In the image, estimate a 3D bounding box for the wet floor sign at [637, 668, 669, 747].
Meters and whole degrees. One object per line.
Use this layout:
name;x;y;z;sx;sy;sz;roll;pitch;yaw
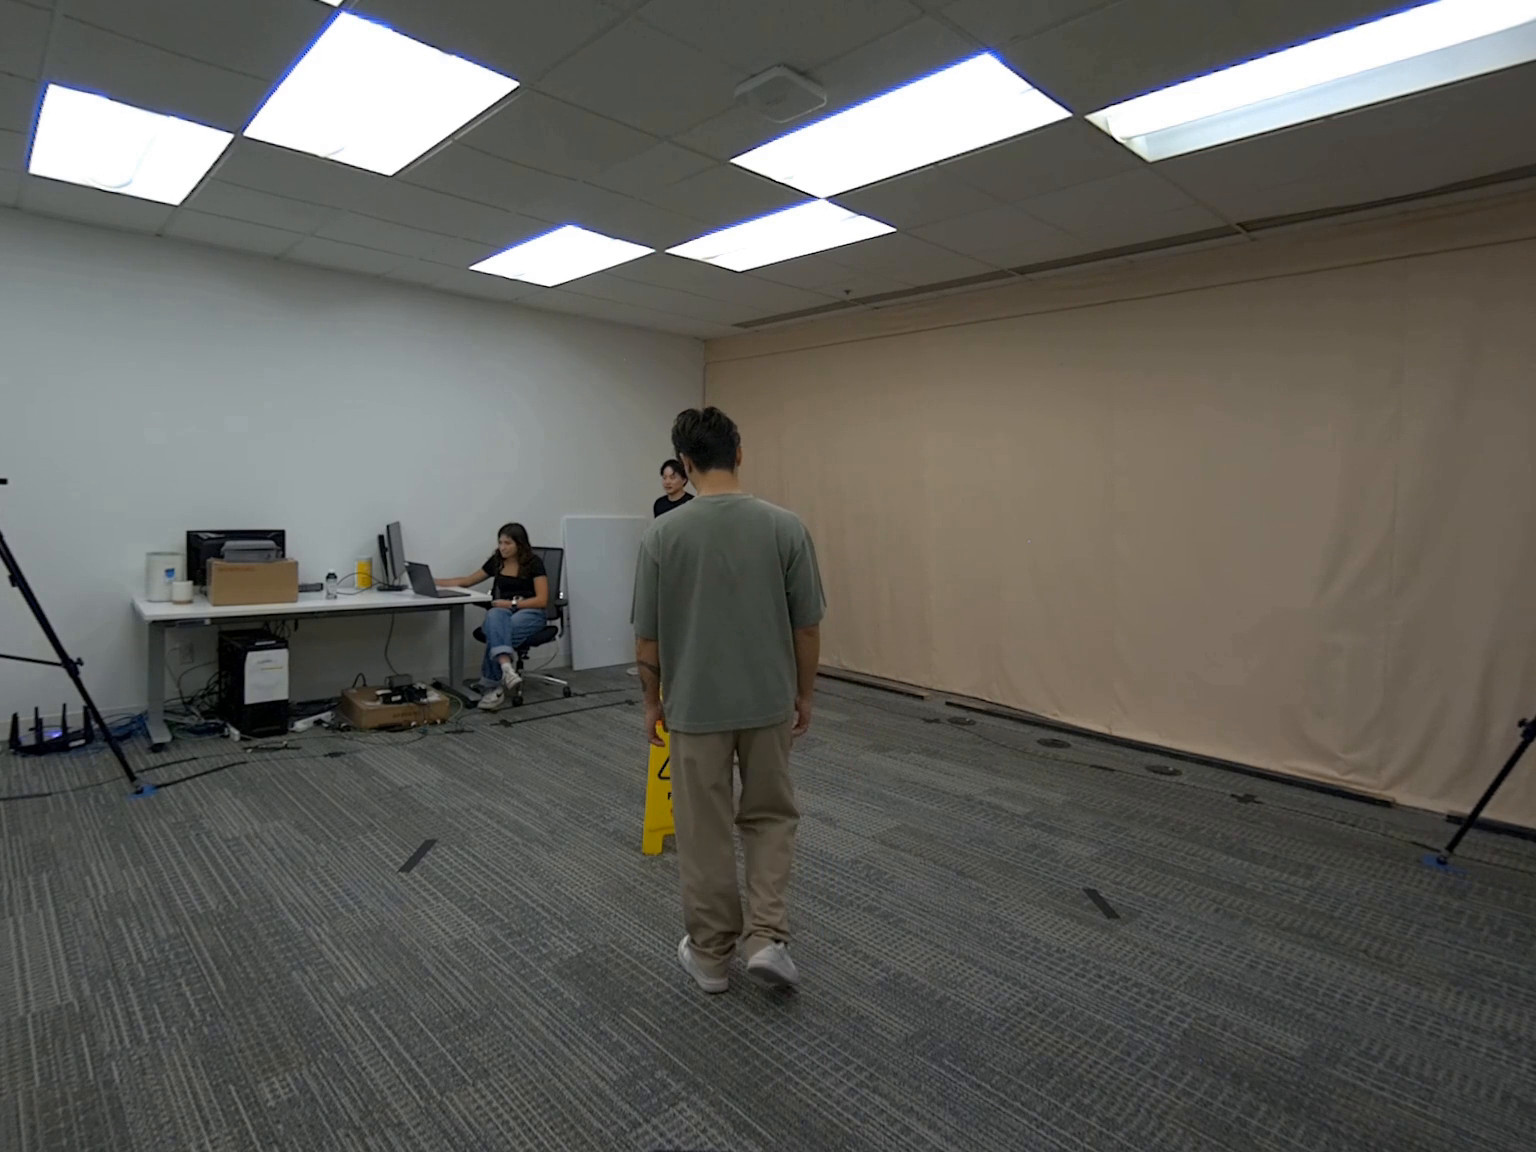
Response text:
wet floor sign;-0.355;0.757;3.390;0.282;0.645;0.291;2;3;-2
